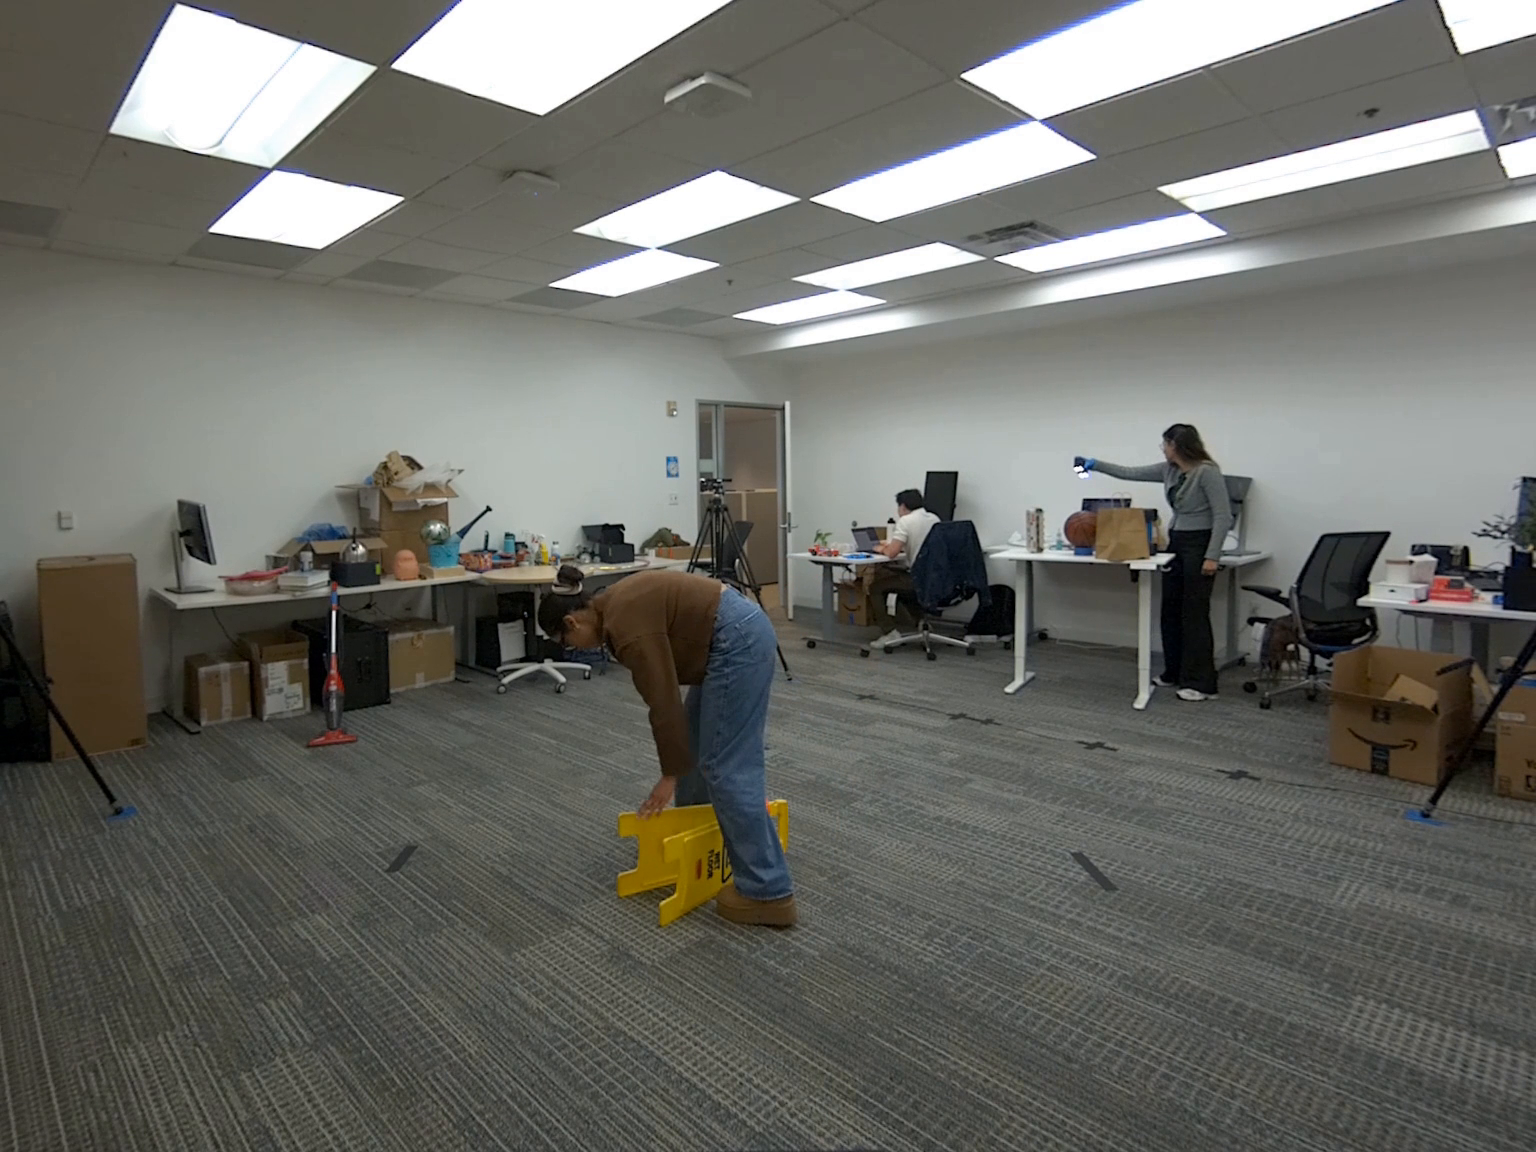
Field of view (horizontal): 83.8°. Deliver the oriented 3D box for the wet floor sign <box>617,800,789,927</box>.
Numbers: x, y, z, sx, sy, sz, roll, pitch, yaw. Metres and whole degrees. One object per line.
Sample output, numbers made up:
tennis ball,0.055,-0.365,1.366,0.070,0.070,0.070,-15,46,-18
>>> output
wet floor sign,-0.179,0.937,2.968,0.628,0.281,0.298,-3,5,-40
